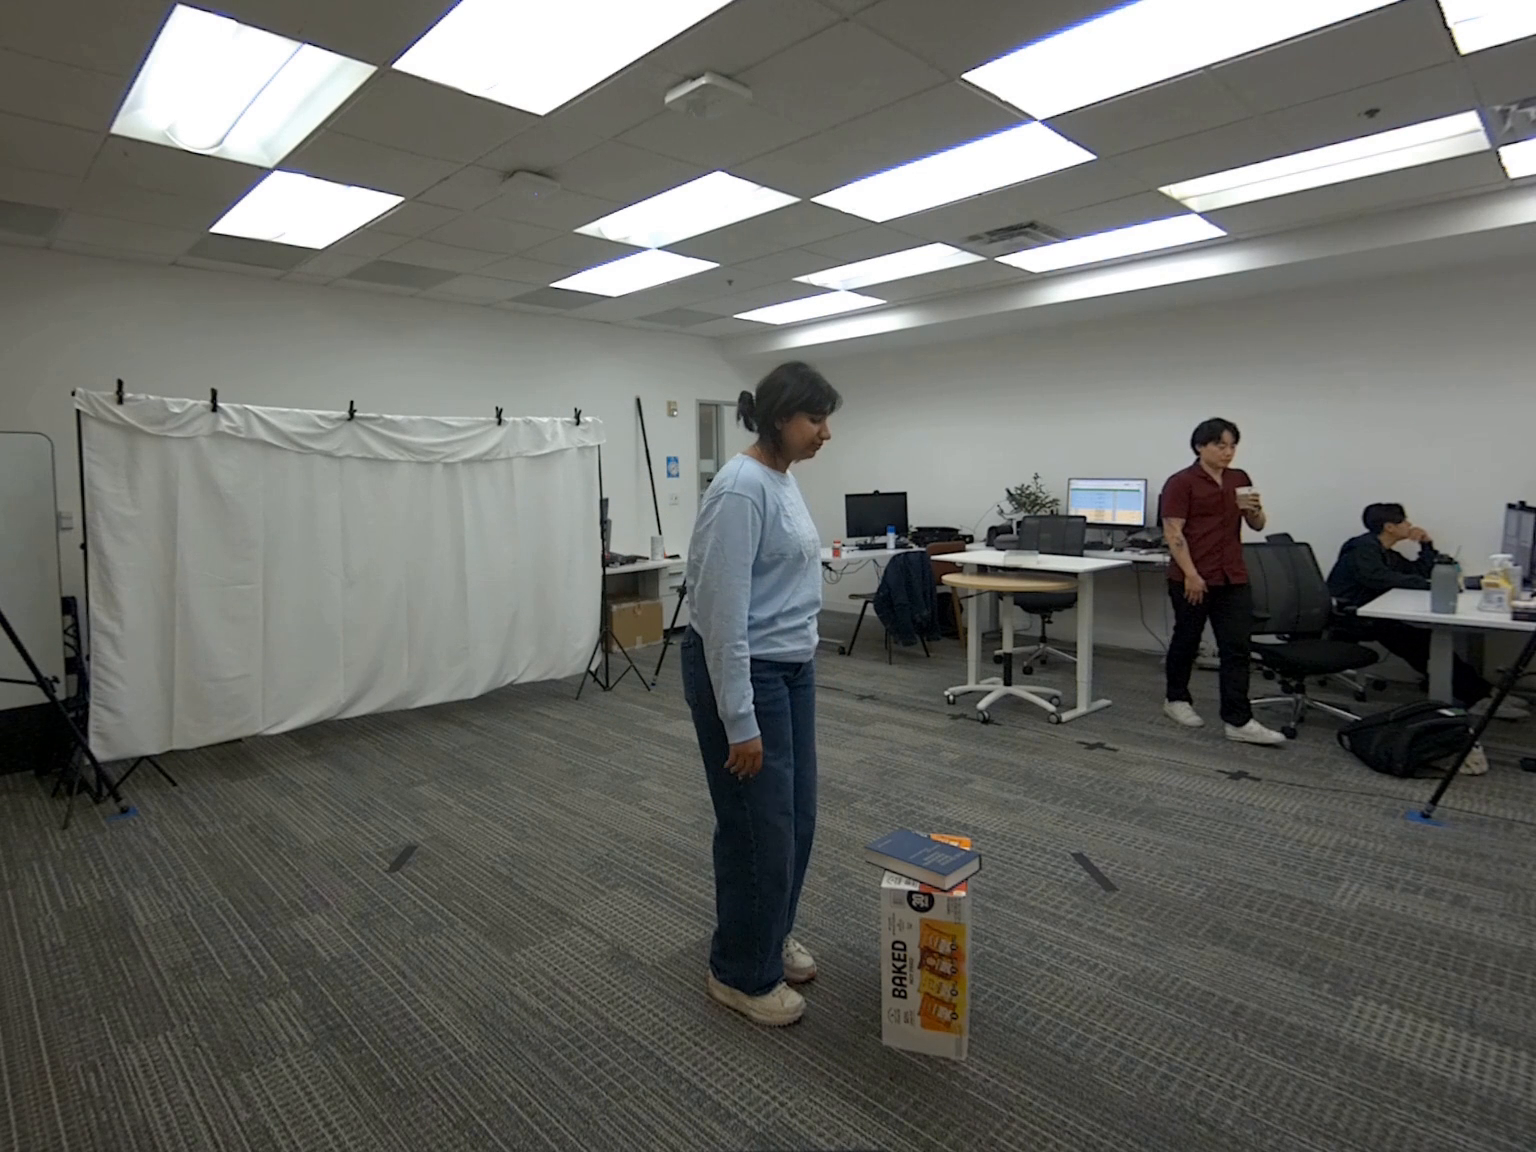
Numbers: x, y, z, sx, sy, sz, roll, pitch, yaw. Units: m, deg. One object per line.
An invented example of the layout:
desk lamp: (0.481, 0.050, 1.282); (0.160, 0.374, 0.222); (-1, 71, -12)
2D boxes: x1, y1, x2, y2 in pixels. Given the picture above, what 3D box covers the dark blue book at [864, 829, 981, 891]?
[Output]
dark blue book: (0.394, 0.715, 2.181); (0.252, 0.045, 0.159); (4, 9, 44)
